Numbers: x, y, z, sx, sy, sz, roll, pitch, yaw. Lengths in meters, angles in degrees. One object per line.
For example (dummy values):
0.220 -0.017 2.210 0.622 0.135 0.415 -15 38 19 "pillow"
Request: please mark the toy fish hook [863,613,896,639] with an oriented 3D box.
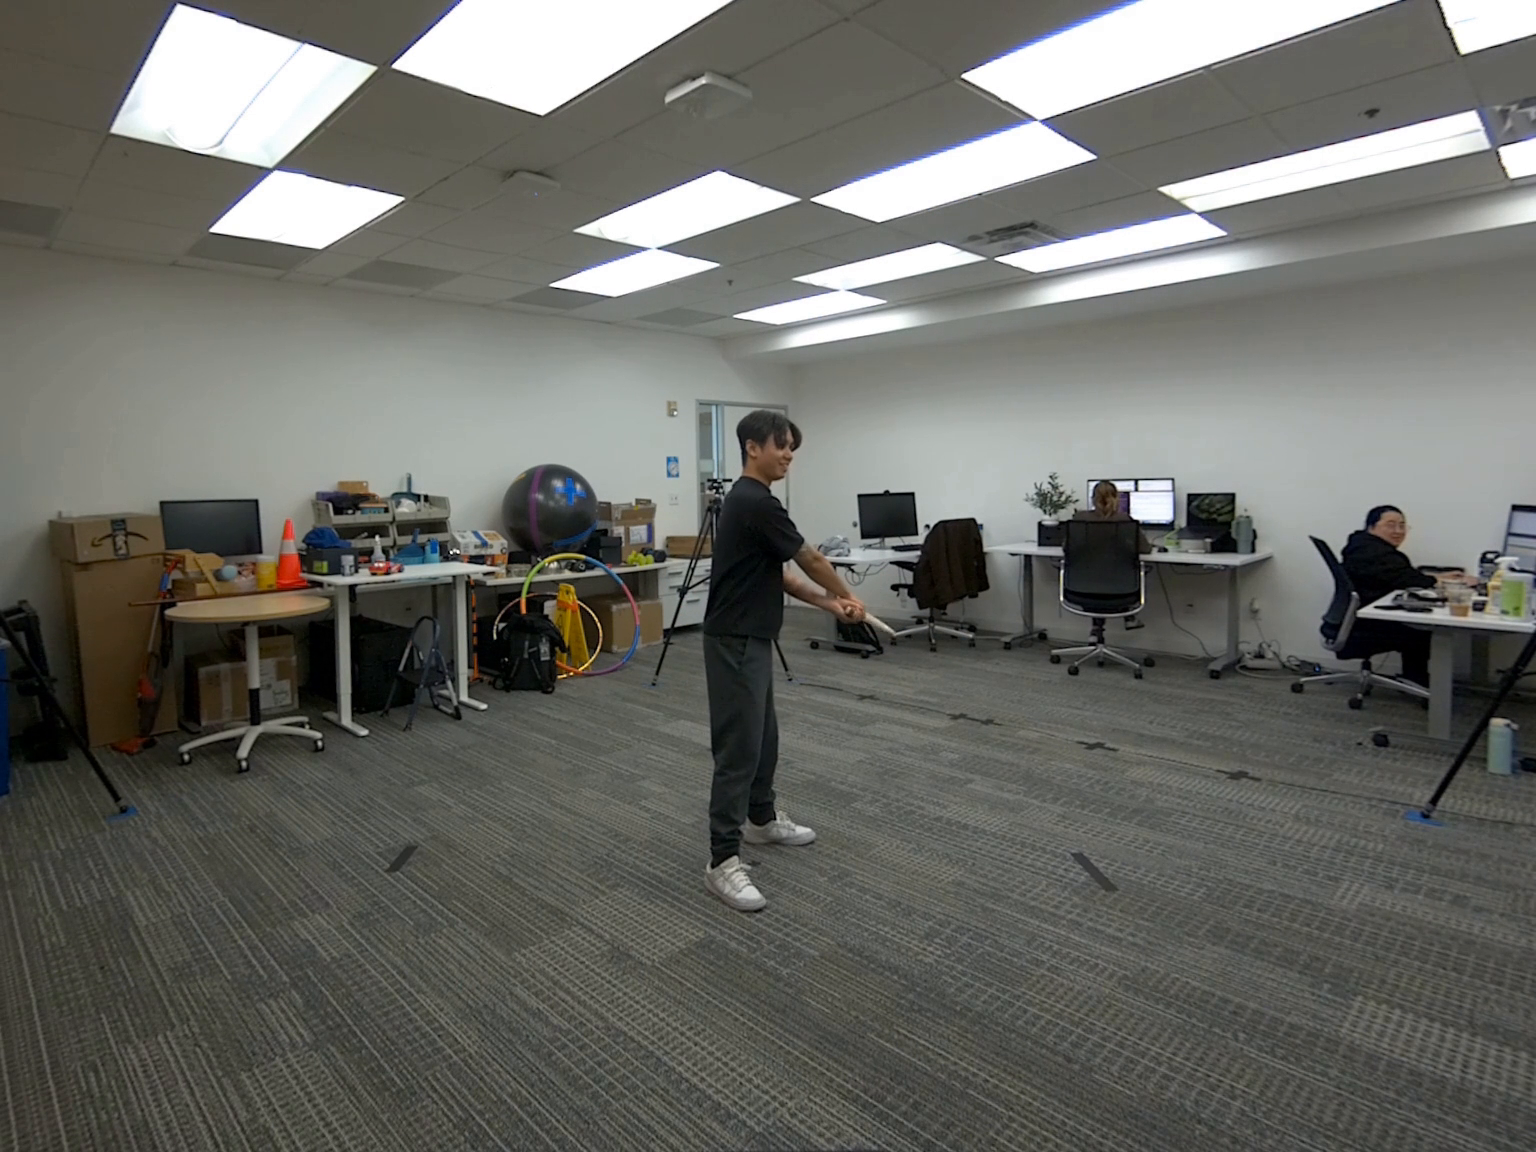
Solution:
0.389 0.164 3.281 0.227 0.048 0.502 23 2 6 "toy fish hook"
